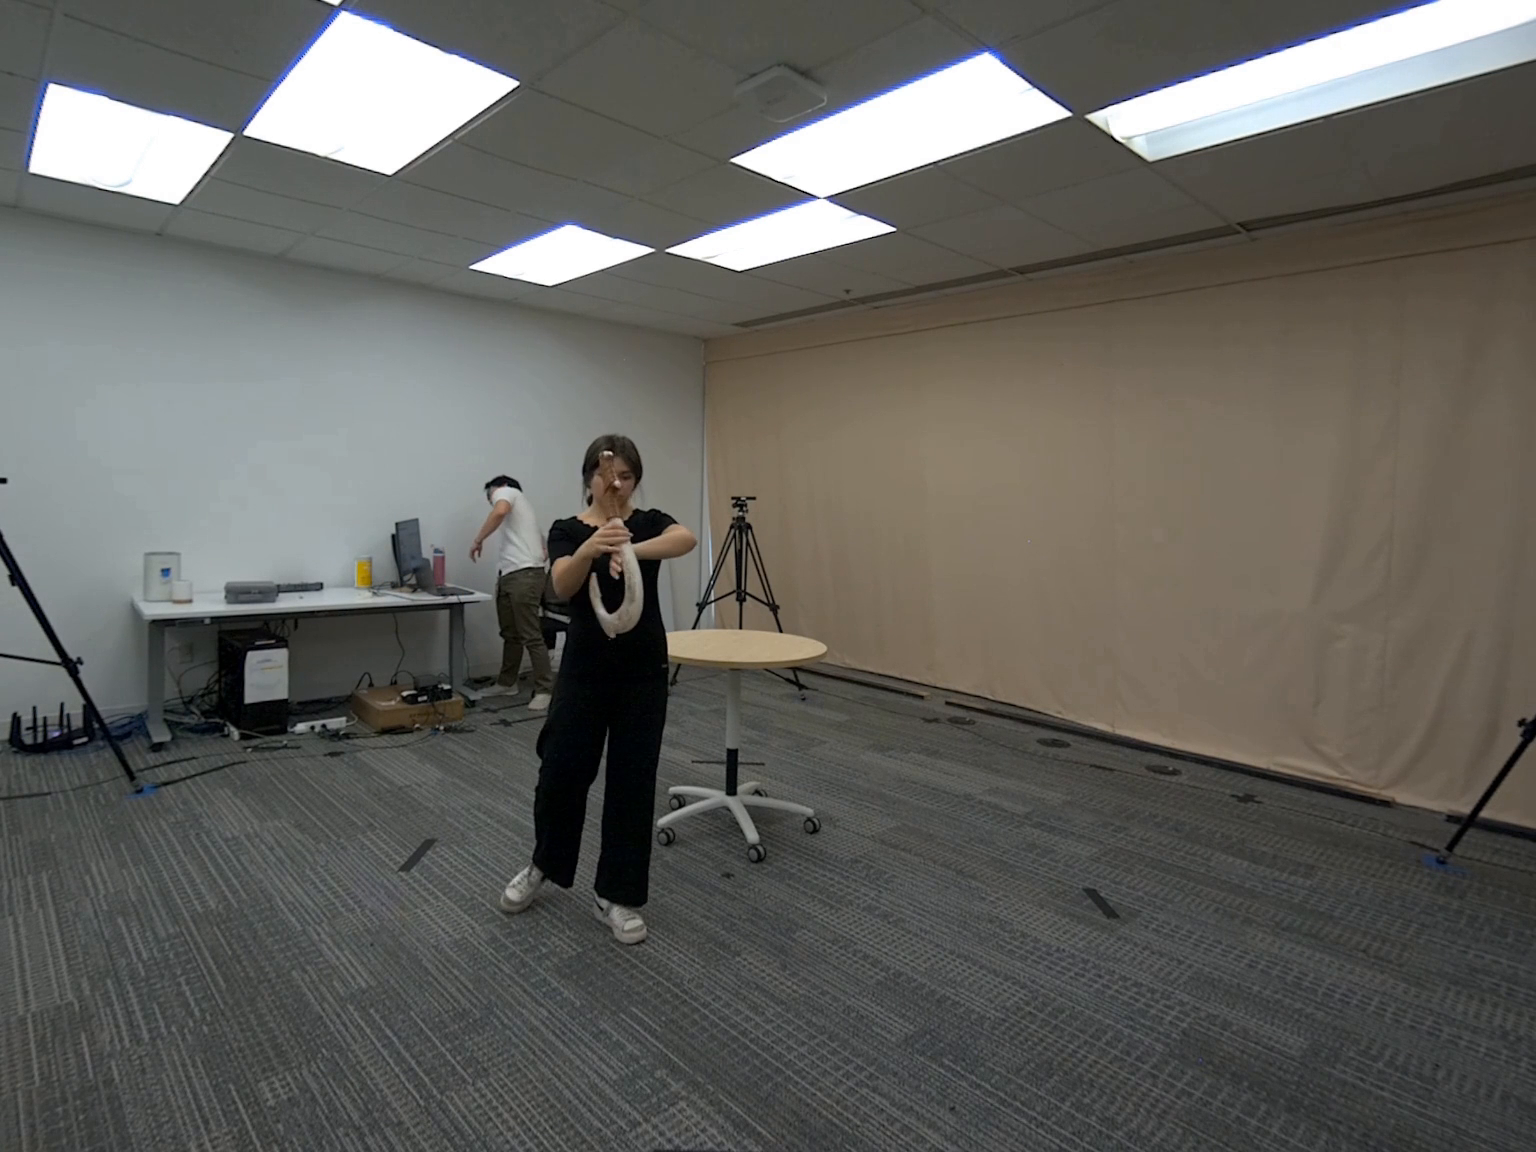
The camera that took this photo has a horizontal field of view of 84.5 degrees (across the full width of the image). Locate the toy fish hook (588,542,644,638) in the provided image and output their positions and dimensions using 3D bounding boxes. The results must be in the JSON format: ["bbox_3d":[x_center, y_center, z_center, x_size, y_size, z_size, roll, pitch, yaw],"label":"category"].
[{"bbox_3d":[-0.455,-0.086,2.299,0.227,0.514,0.047,-23,-22,40],"label":"toy fish hook"}]
